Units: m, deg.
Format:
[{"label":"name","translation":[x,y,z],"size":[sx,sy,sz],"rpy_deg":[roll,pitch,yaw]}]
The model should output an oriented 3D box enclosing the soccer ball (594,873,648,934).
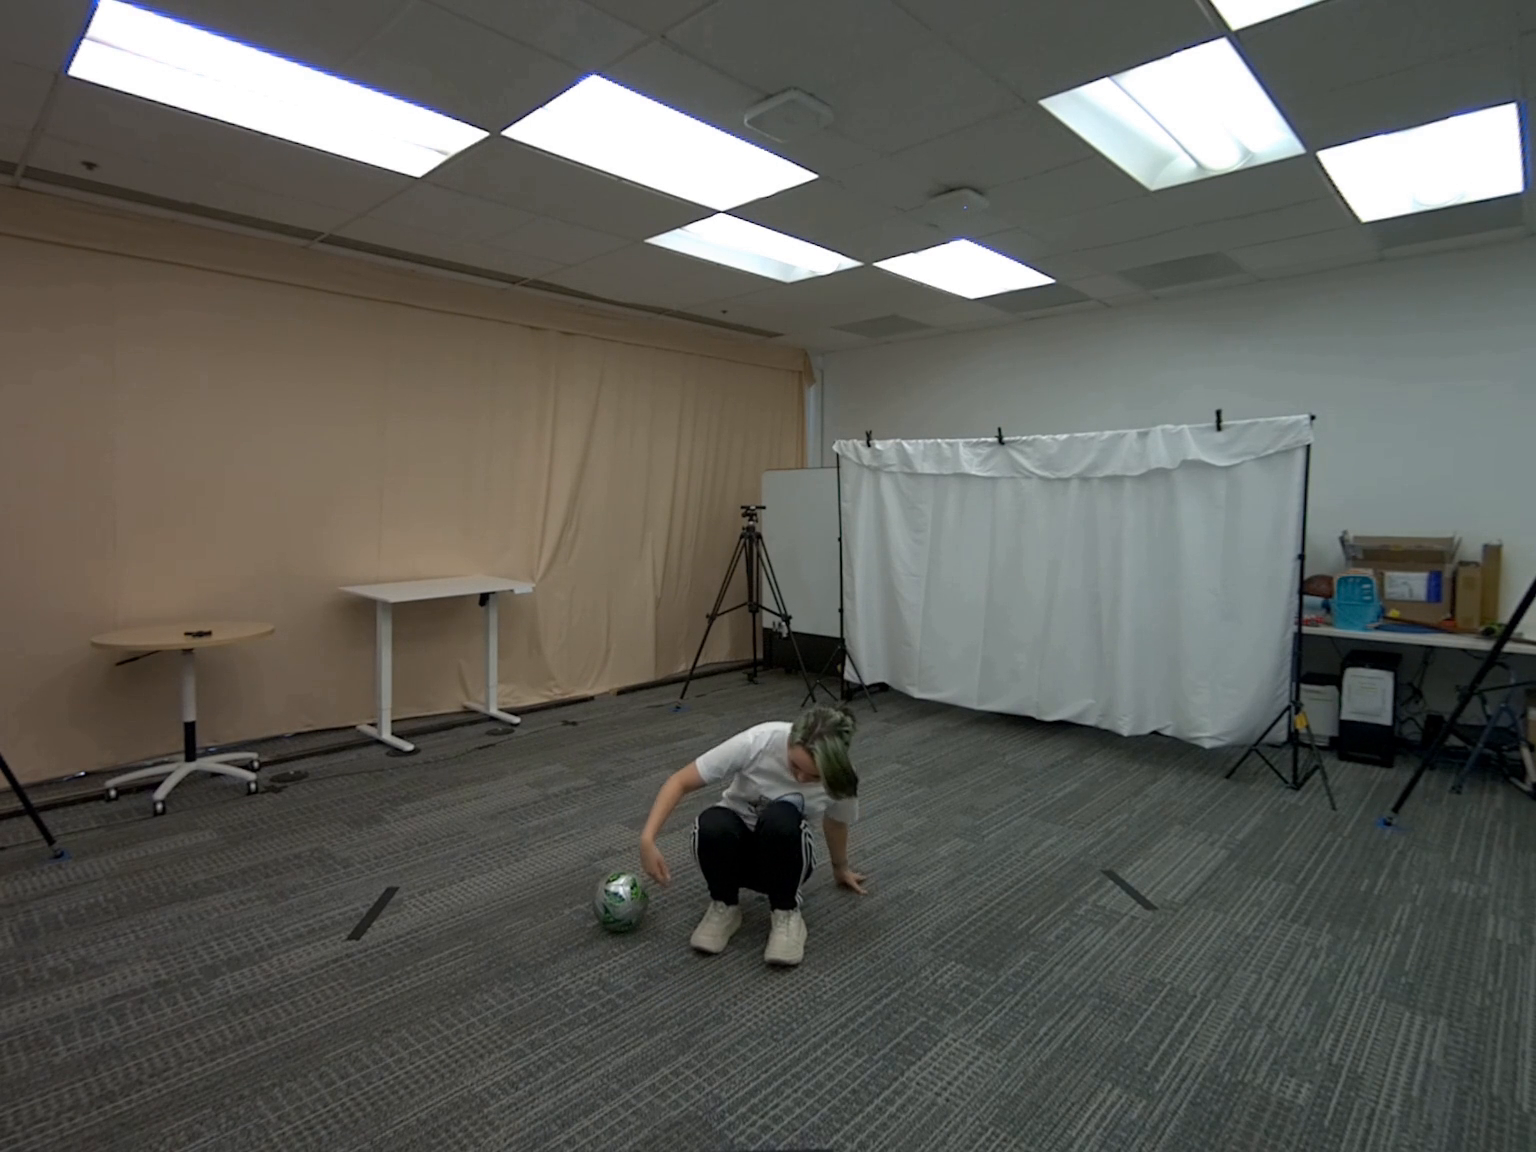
[{"label":"soccer ball","translation":[-0.487,1.075,2.783],"size":[0.187,0.187,0.188],"rpy_deg":[0,4,-2]}]
